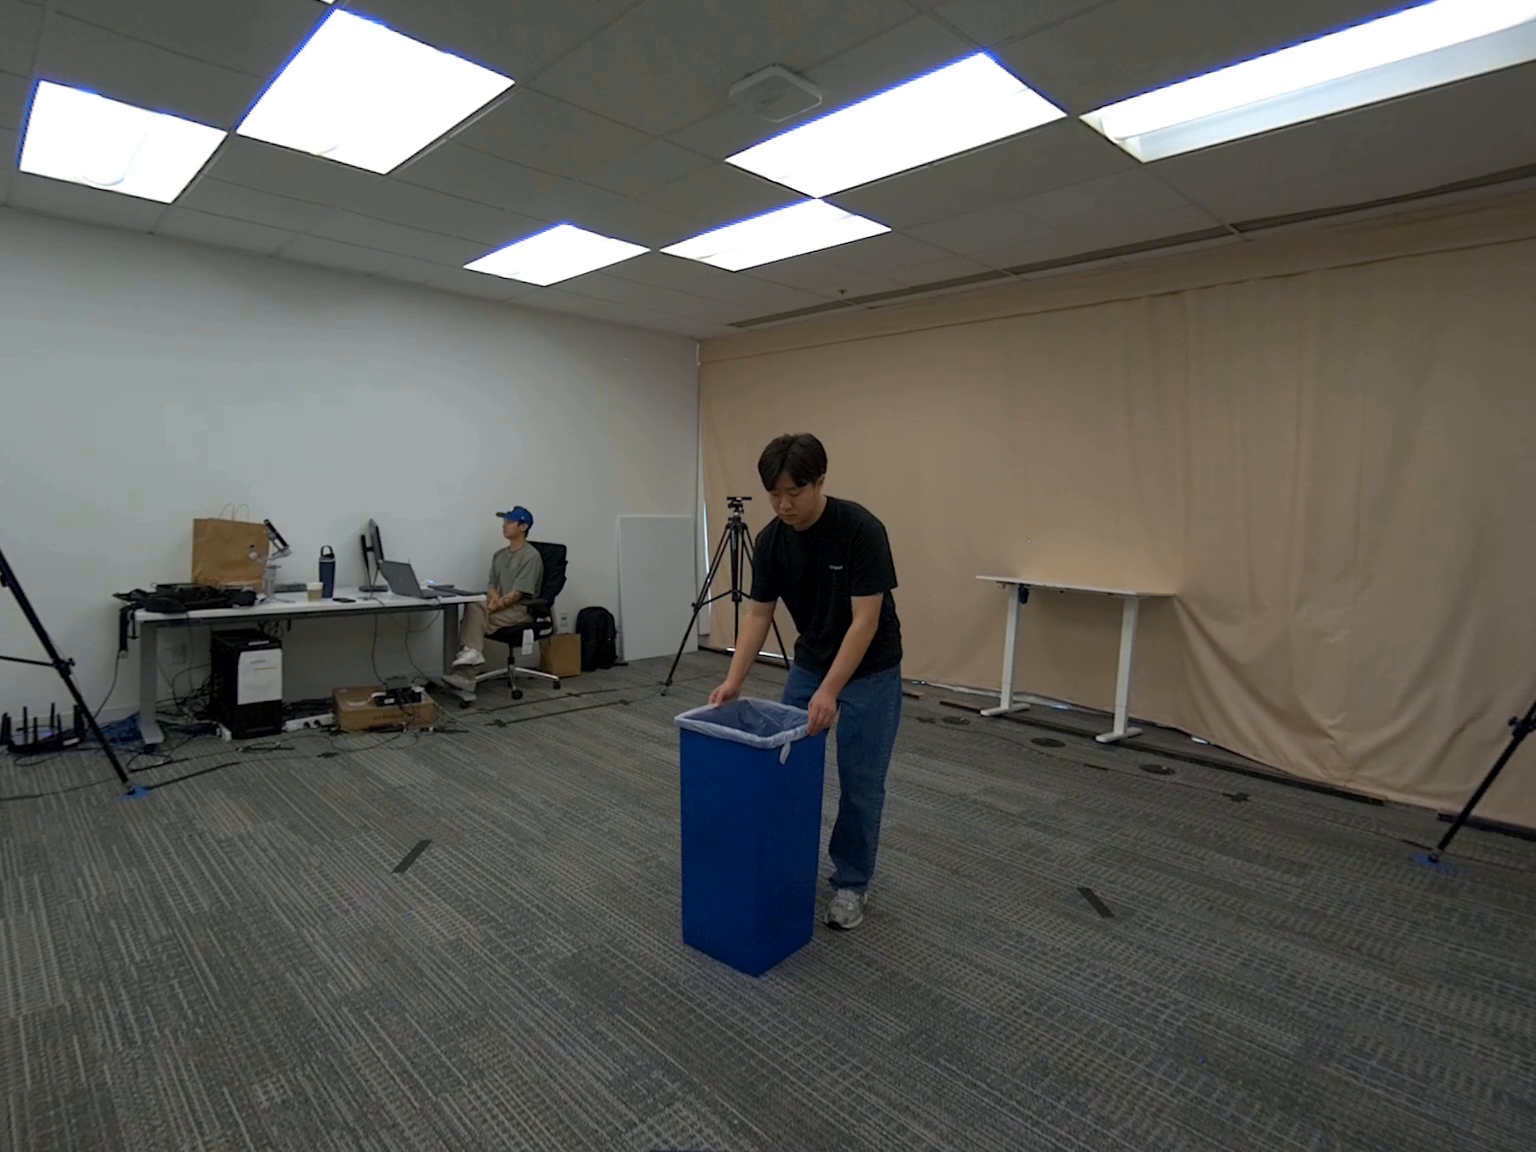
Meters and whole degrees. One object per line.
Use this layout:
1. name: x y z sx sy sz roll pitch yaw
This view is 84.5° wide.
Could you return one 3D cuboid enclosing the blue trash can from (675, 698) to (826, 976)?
1. blue trash can: -0.067 0.791 2.624 0.383 0.711 0.370 6 5 37
